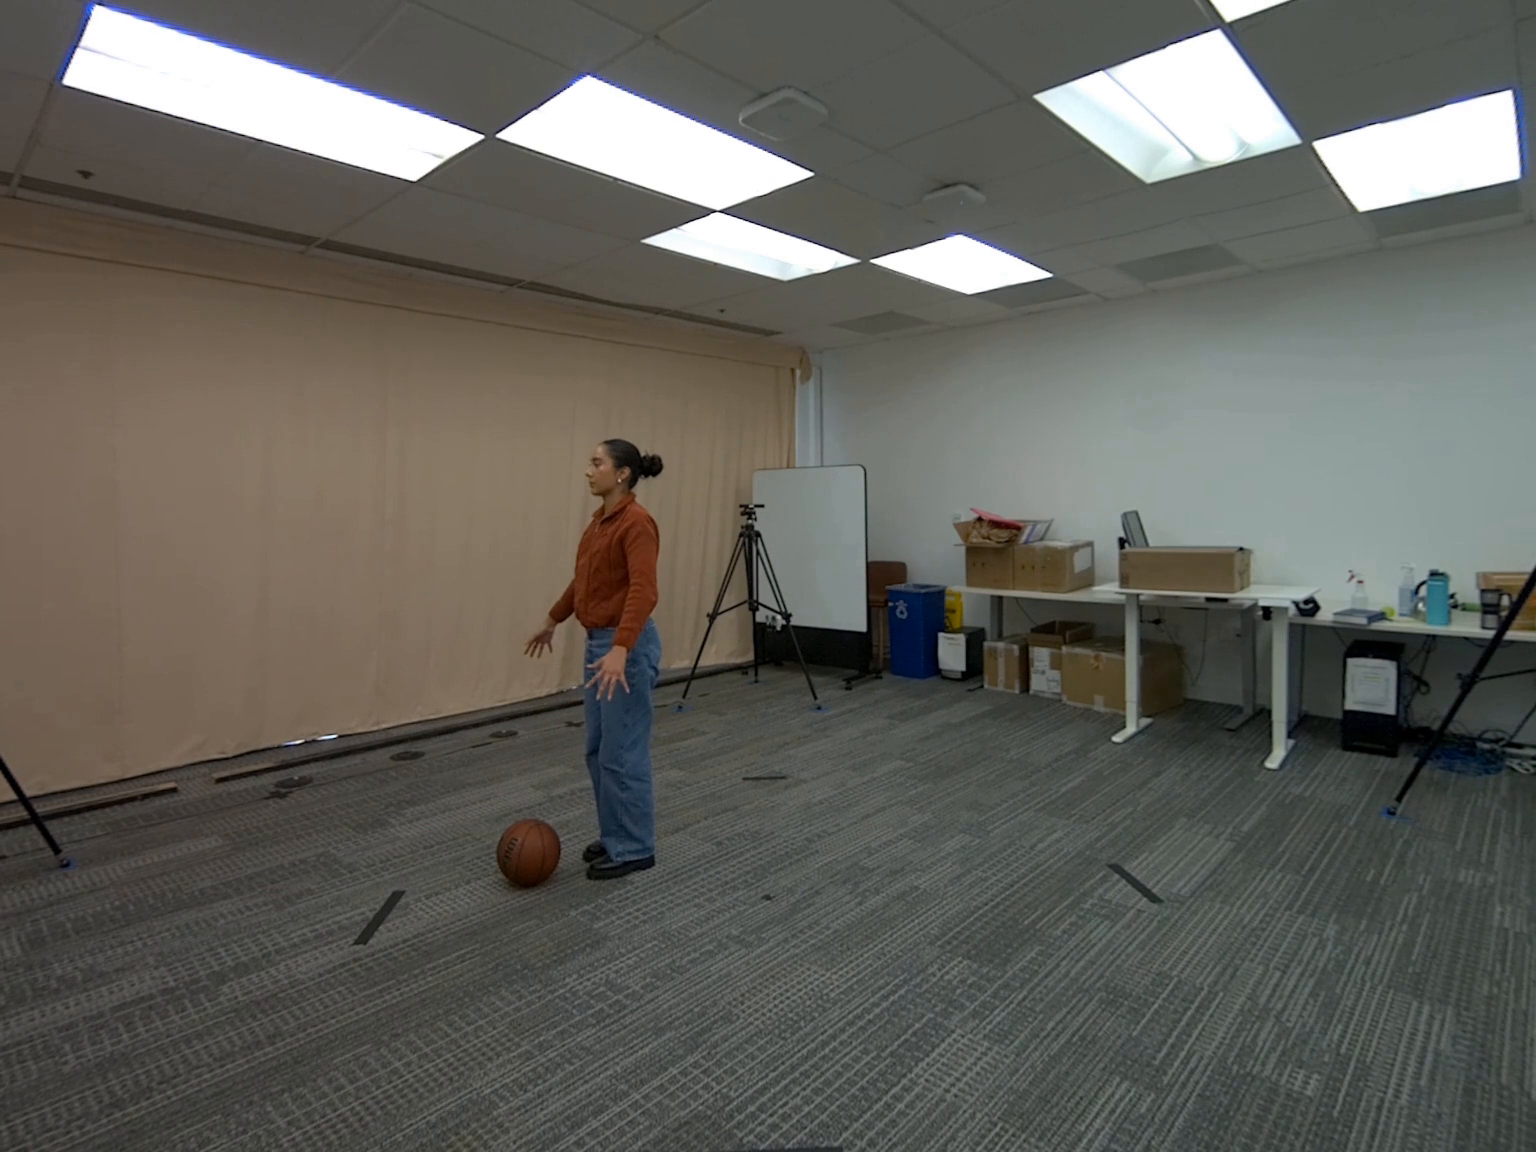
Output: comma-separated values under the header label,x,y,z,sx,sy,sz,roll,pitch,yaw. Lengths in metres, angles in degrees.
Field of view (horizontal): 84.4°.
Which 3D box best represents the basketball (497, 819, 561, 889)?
label,x,y,z,sx,sy,sz,roll,pitch,yaw
basketball,-0.892,1.027,3.144,0.236,0.235,0.237,-1,4,-2
